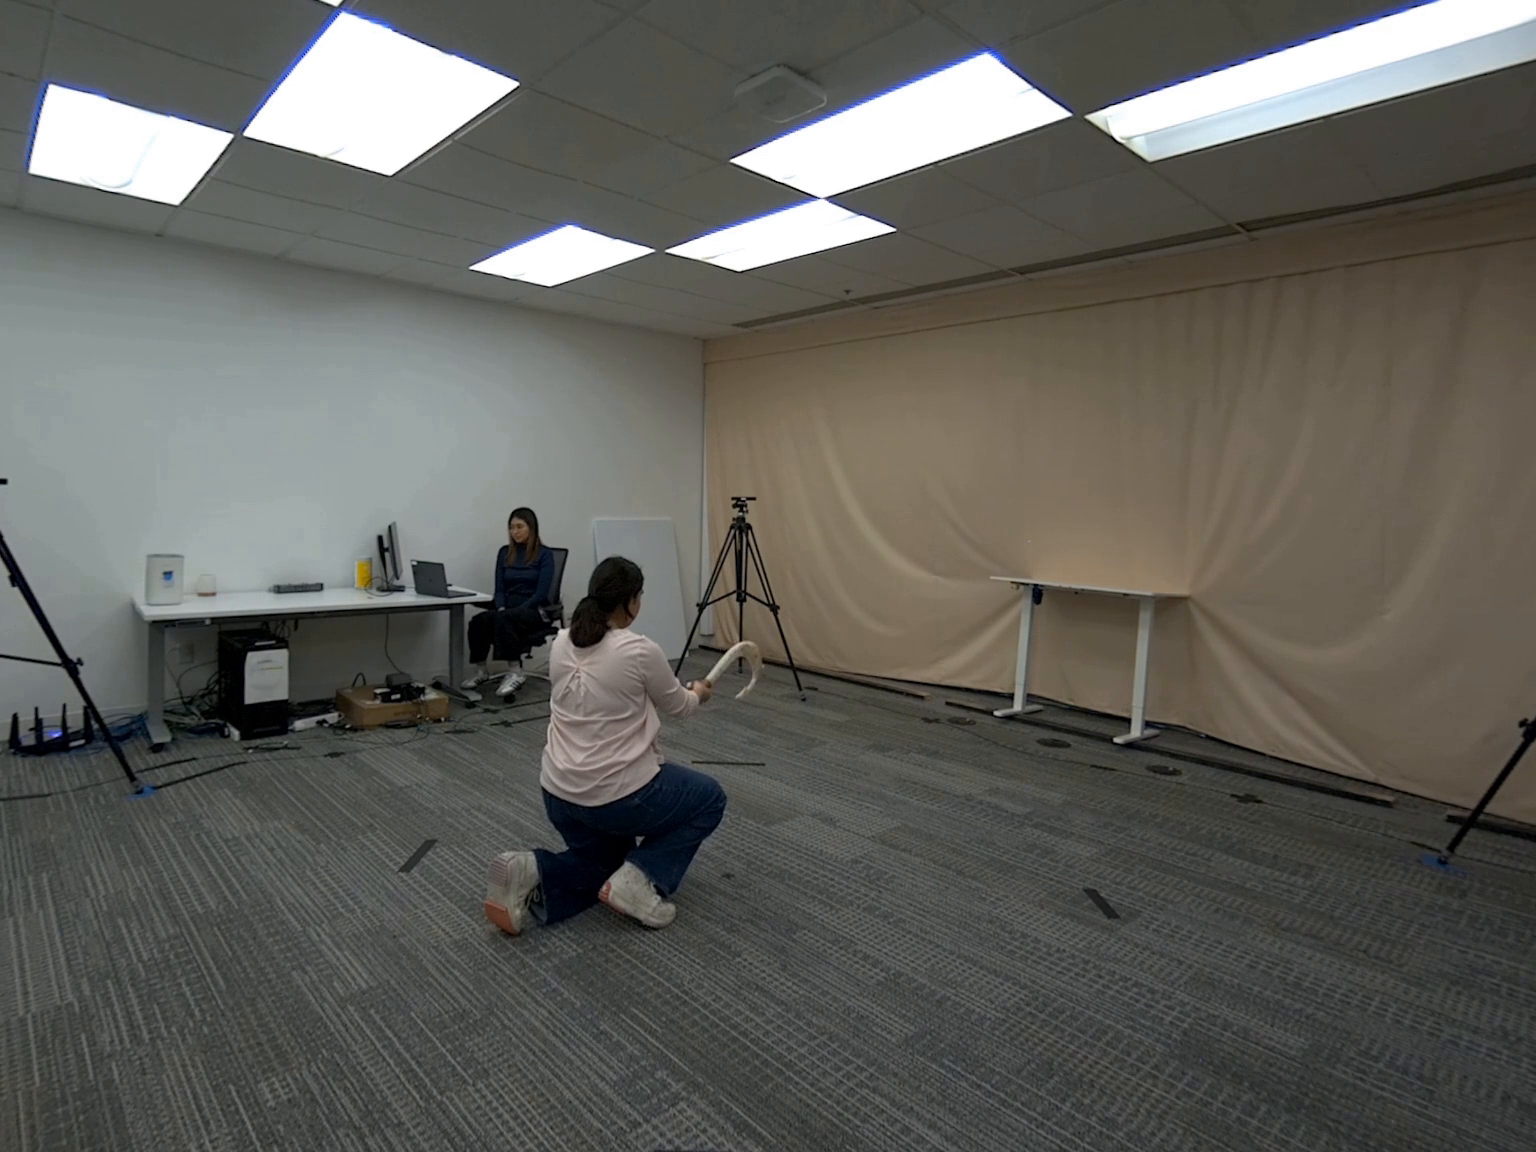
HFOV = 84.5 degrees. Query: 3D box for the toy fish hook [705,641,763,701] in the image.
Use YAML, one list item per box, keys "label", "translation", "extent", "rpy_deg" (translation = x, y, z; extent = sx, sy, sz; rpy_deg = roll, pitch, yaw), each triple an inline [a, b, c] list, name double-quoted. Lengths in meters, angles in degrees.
- label: "toy fish hook"
  translation: [-0.195, 0.434, 3.346]
  extent: [0.049, 0.222, 0.502]
  rpy_deg: [-5, 20, 47]
